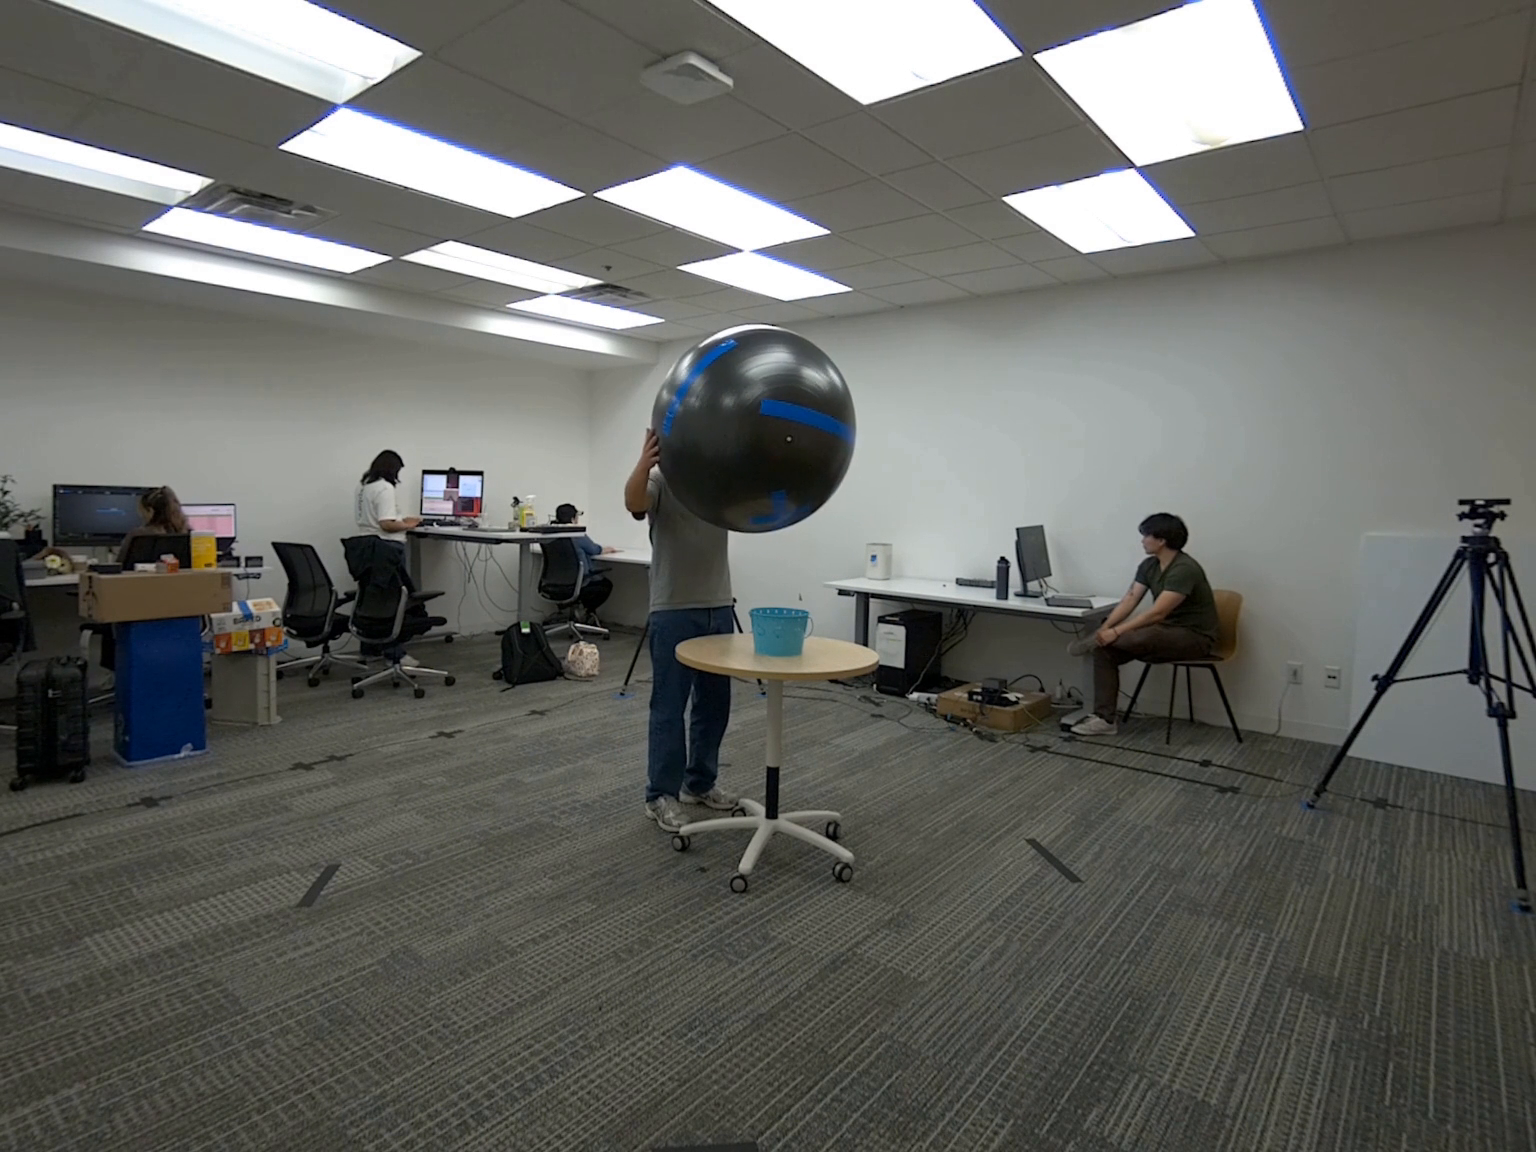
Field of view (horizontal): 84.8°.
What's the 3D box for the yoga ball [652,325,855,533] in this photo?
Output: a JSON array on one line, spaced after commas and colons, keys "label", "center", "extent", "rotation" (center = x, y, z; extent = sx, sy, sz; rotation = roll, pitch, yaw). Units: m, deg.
[{"label": "yoga ball", "center": [-0.073, -0.530, 3.149], "extent": [0.757, 0.755, 0.762], "rotation": [1, 4, -2]}]
